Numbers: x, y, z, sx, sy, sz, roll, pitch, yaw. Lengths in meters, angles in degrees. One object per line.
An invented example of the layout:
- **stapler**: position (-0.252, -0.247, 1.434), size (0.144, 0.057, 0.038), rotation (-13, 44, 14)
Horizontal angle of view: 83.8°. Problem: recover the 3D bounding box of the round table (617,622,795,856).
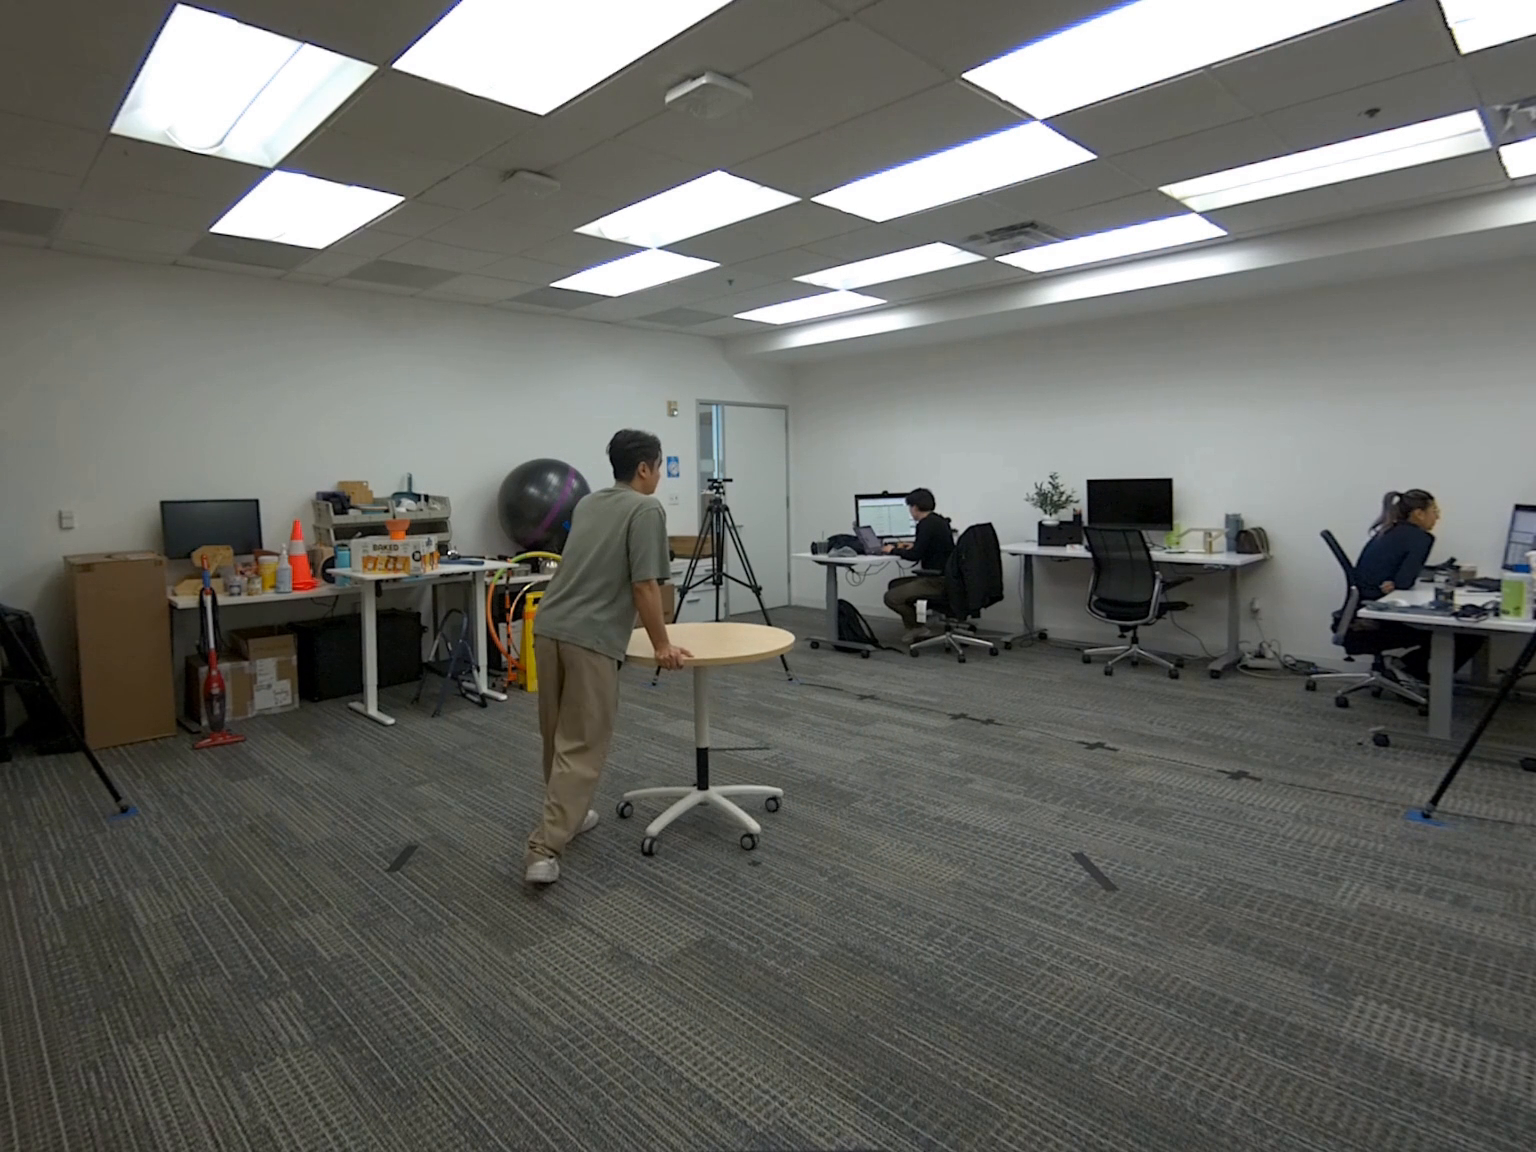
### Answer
- **round table**: position (-0.266, 0.629, 3.445), size (0.784, 0.784, 0.789), rotation (-1, 5, -2)
